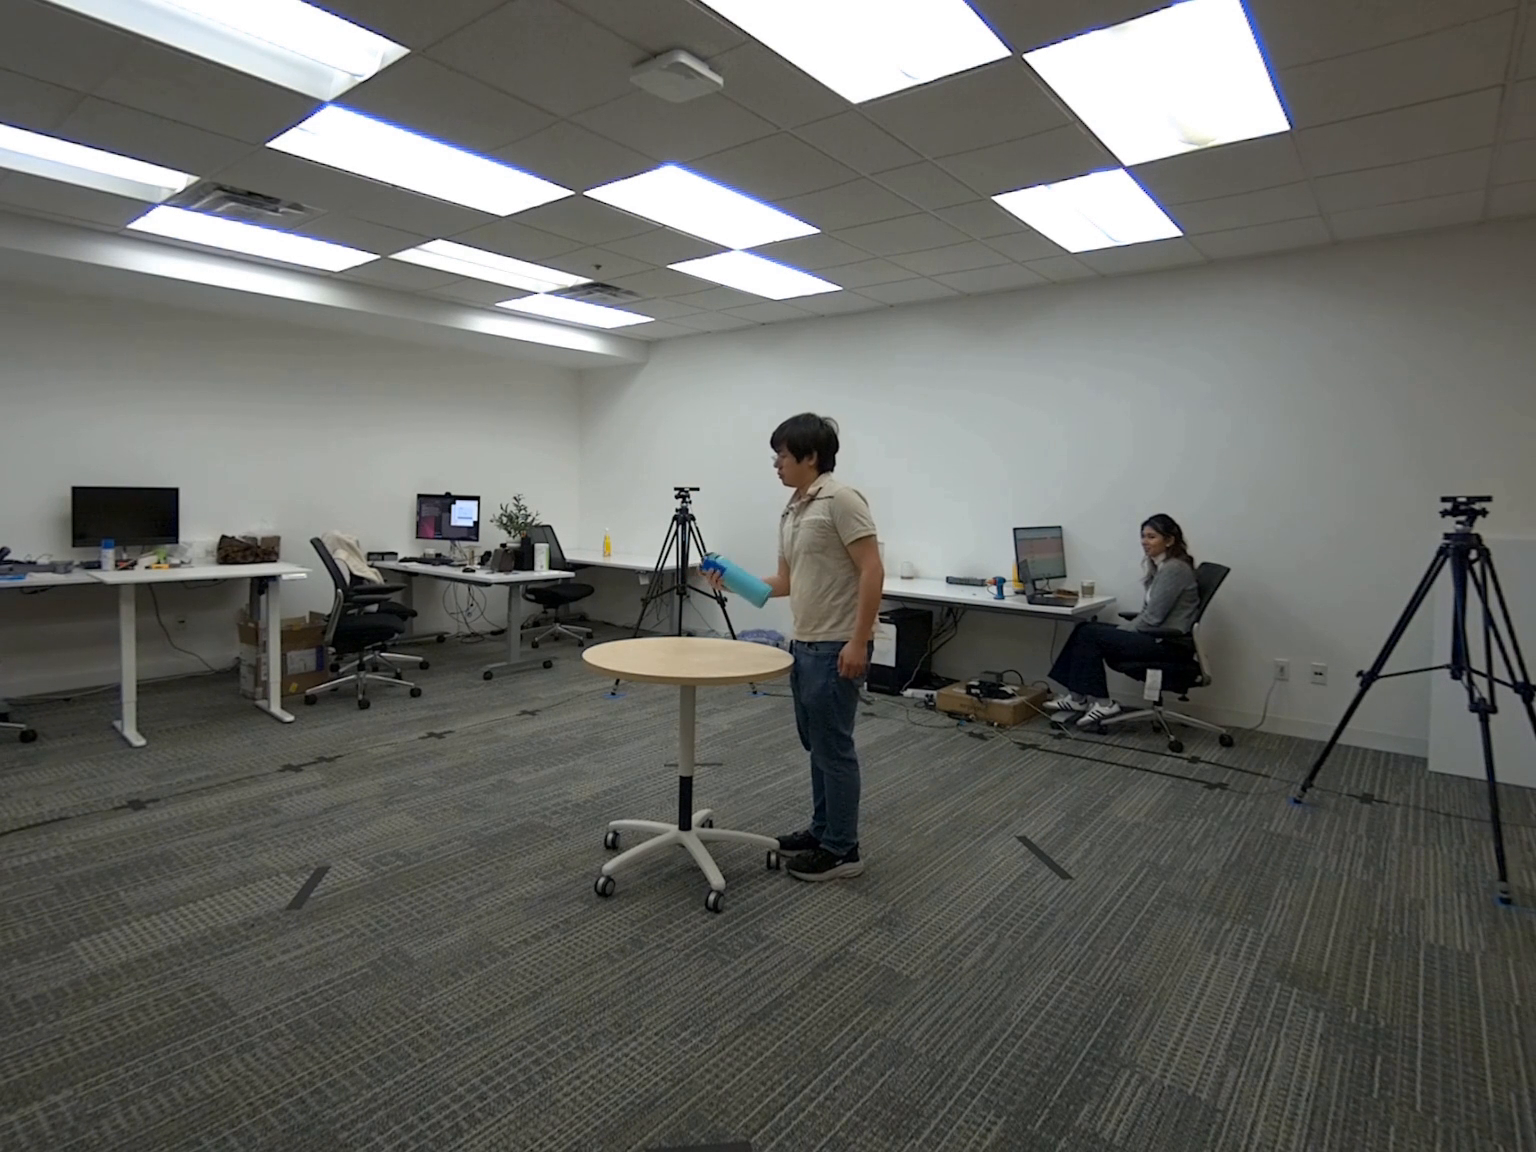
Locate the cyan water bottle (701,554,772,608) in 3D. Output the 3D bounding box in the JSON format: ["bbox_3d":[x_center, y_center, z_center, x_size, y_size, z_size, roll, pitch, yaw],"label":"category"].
[{"bbox_3d":[-0.156,-0.006,3.111,0.287,0.092,0.091,31,9,10],"label":"cyan water bottle"}]
